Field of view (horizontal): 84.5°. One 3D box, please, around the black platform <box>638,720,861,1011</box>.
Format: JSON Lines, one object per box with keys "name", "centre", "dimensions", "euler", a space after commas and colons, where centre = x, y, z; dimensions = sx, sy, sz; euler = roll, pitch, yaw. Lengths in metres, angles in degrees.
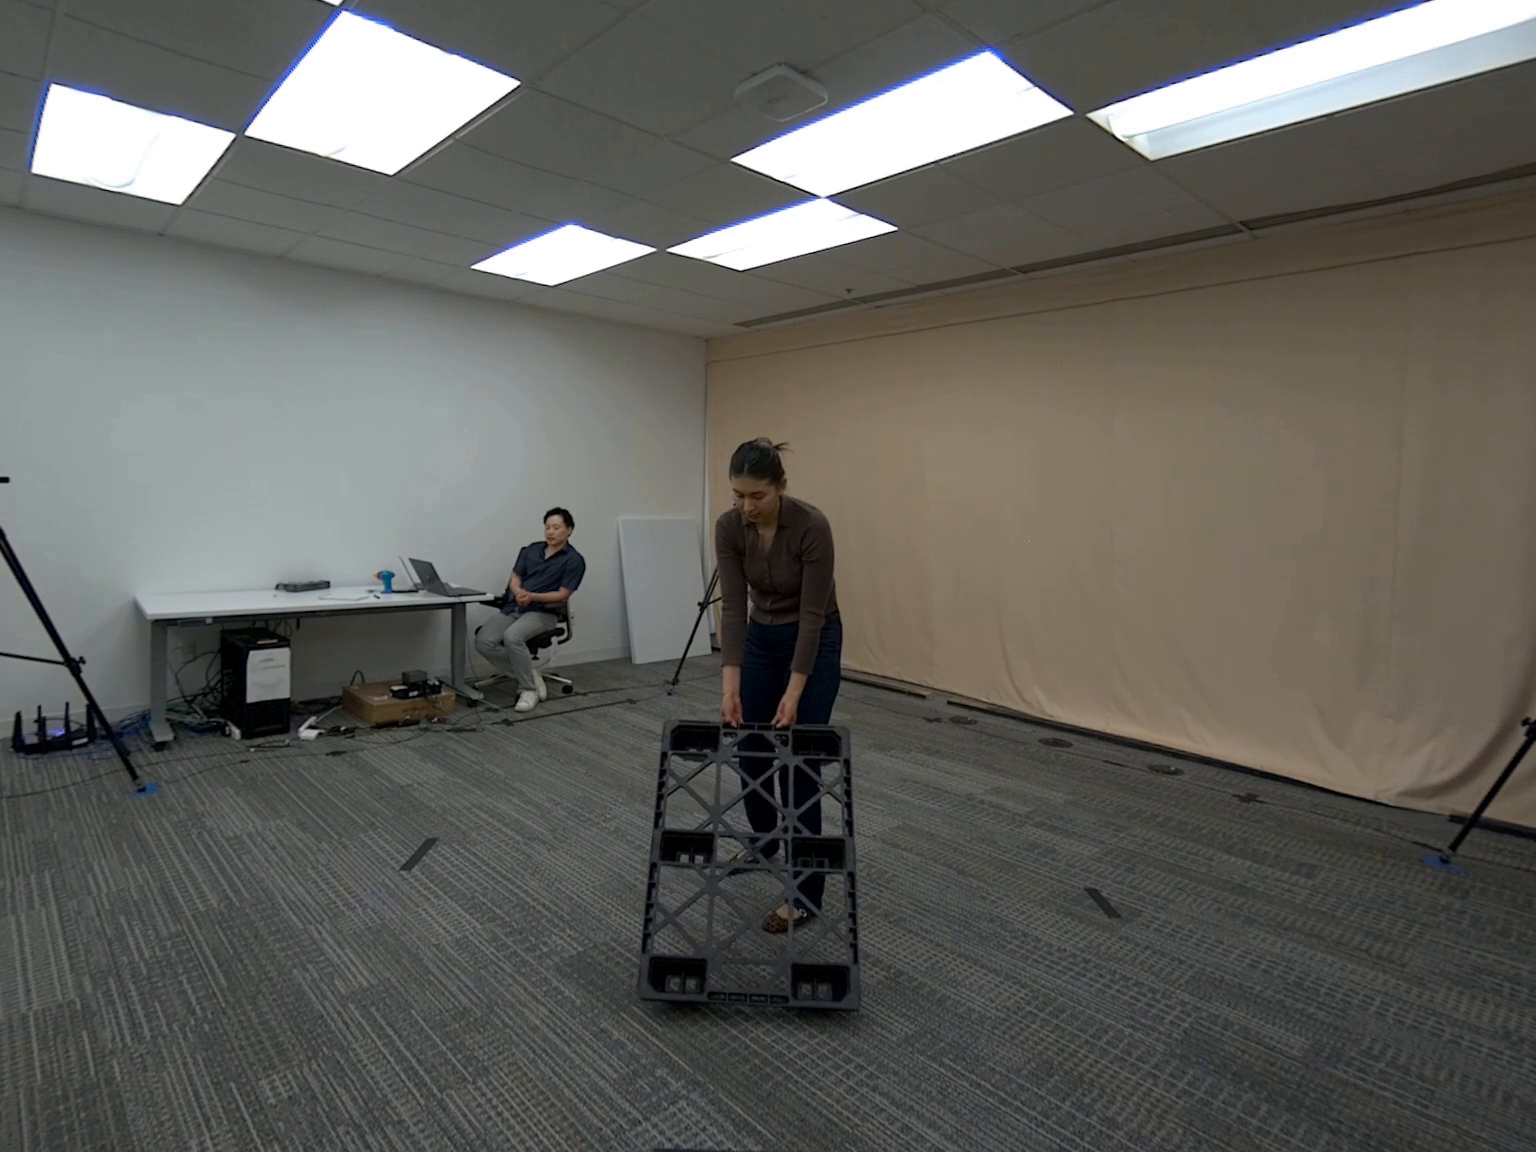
{"name": "black platform", "centre": [-0.046, 0.834, 2.507], "dimensions": [0.606, 0.822, 0.140], "euler": [1, -35, 1]}
